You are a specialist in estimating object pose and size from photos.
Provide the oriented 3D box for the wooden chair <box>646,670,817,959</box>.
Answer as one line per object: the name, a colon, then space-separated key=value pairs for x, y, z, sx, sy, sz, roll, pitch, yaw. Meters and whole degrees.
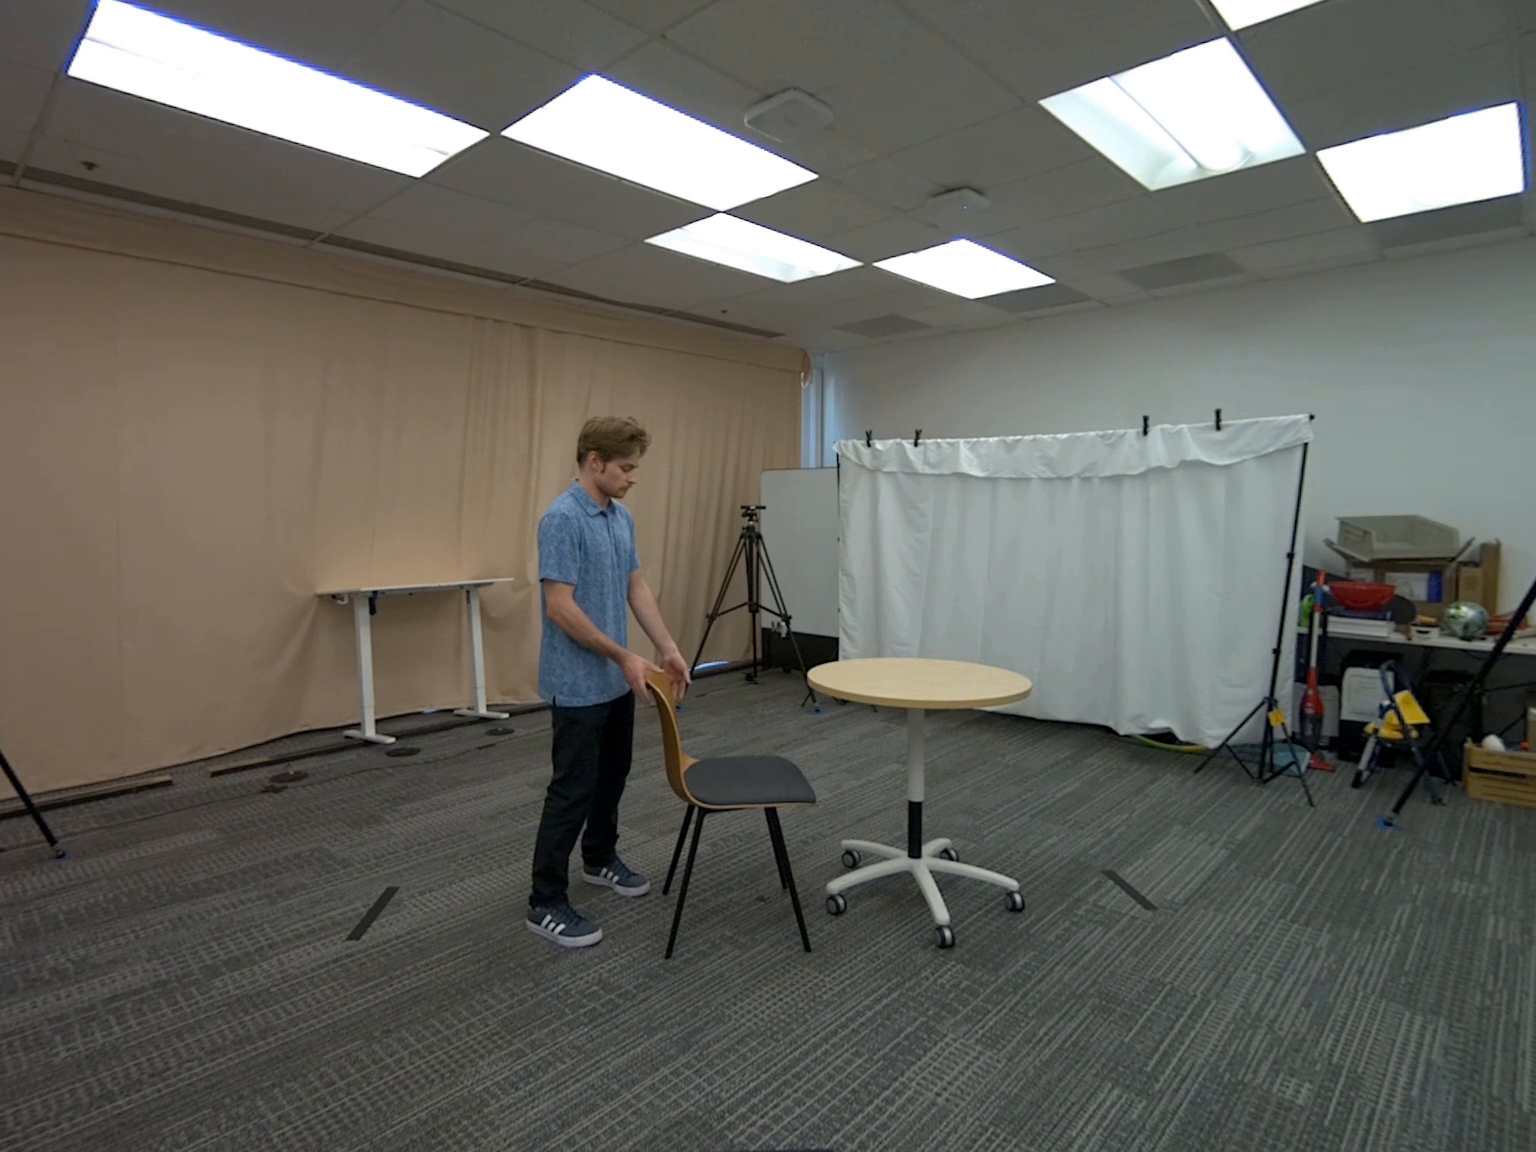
wooden chair: x=-0.109 y=0.732 z=2.797 sx=0.520 sy=0.875 sz=0.482 roll=-5 pitch=3 yaw=-7
